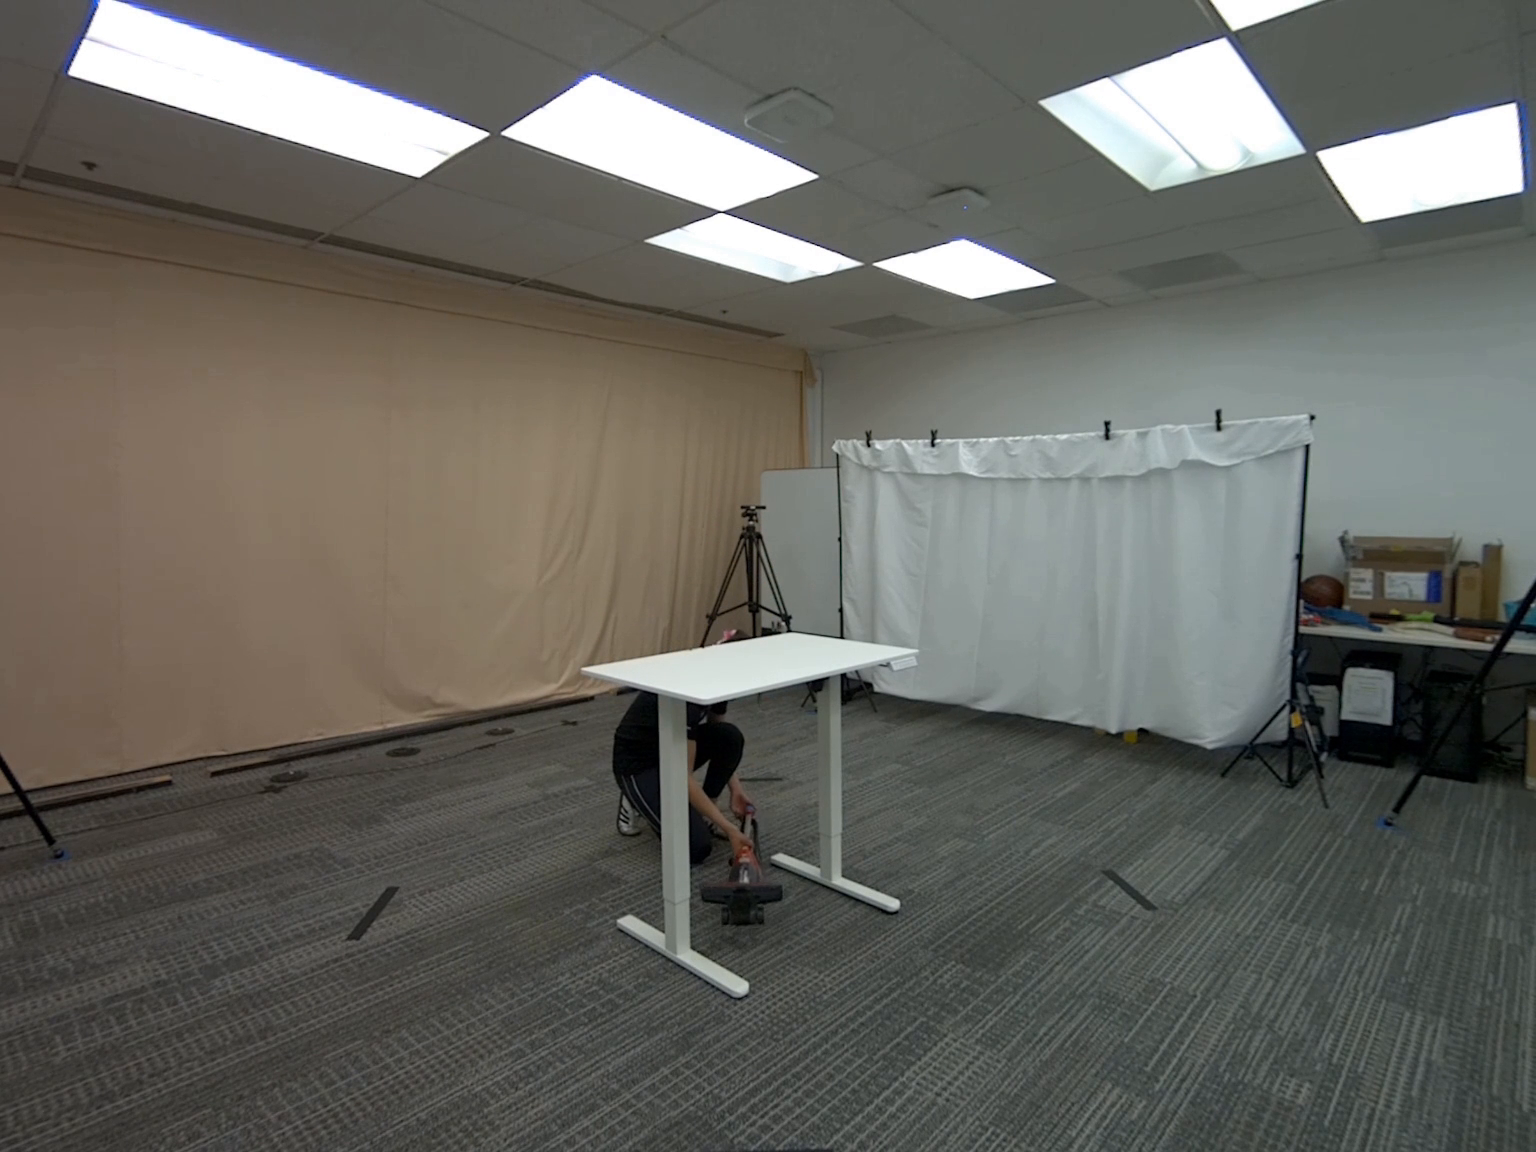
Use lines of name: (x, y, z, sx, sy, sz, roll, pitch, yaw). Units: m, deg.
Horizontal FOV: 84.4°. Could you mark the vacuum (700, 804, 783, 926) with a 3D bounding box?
vacuum: (-0.073, 1.013, 3.105, 0.253, 0.144, 1.047, -4, 0, 0)
